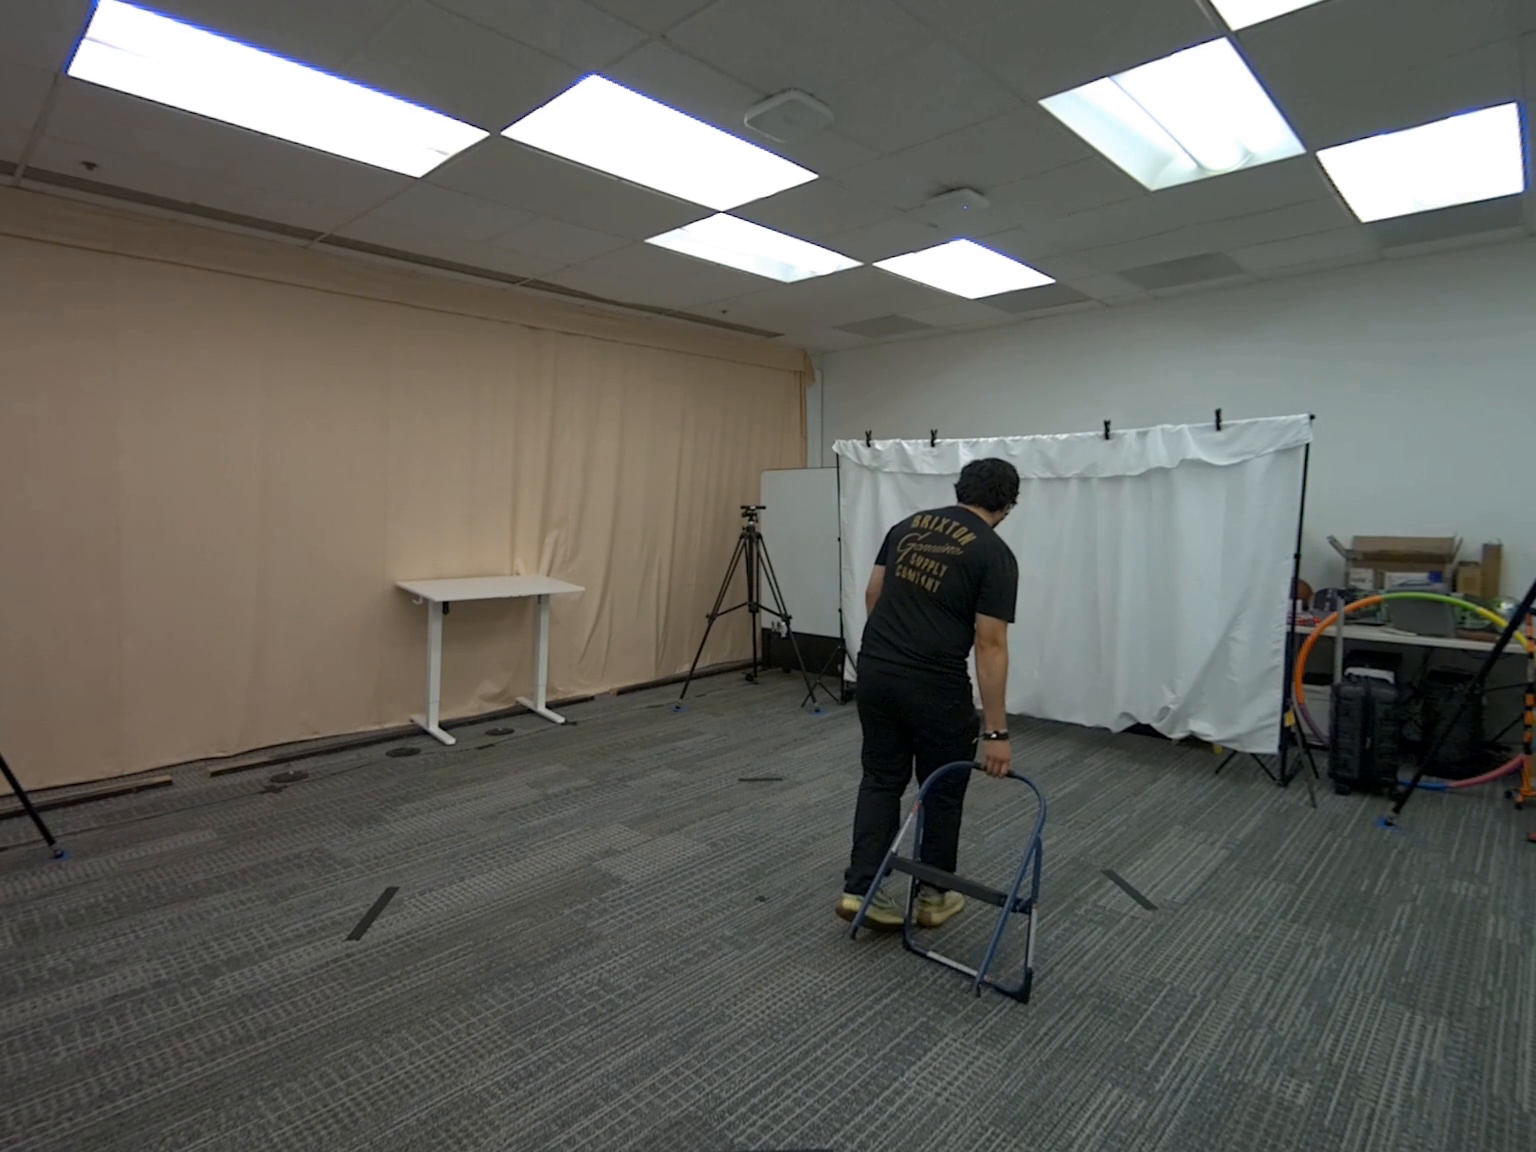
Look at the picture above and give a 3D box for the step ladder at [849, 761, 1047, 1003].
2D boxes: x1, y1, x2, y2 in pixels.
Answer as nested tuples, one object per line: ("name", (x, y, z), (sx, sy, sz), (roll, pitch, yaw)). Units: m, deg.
("step ladder", (0.576, 0.838, 2.473), (0.445, 0.608, 0.336), (5, -21, 44))
